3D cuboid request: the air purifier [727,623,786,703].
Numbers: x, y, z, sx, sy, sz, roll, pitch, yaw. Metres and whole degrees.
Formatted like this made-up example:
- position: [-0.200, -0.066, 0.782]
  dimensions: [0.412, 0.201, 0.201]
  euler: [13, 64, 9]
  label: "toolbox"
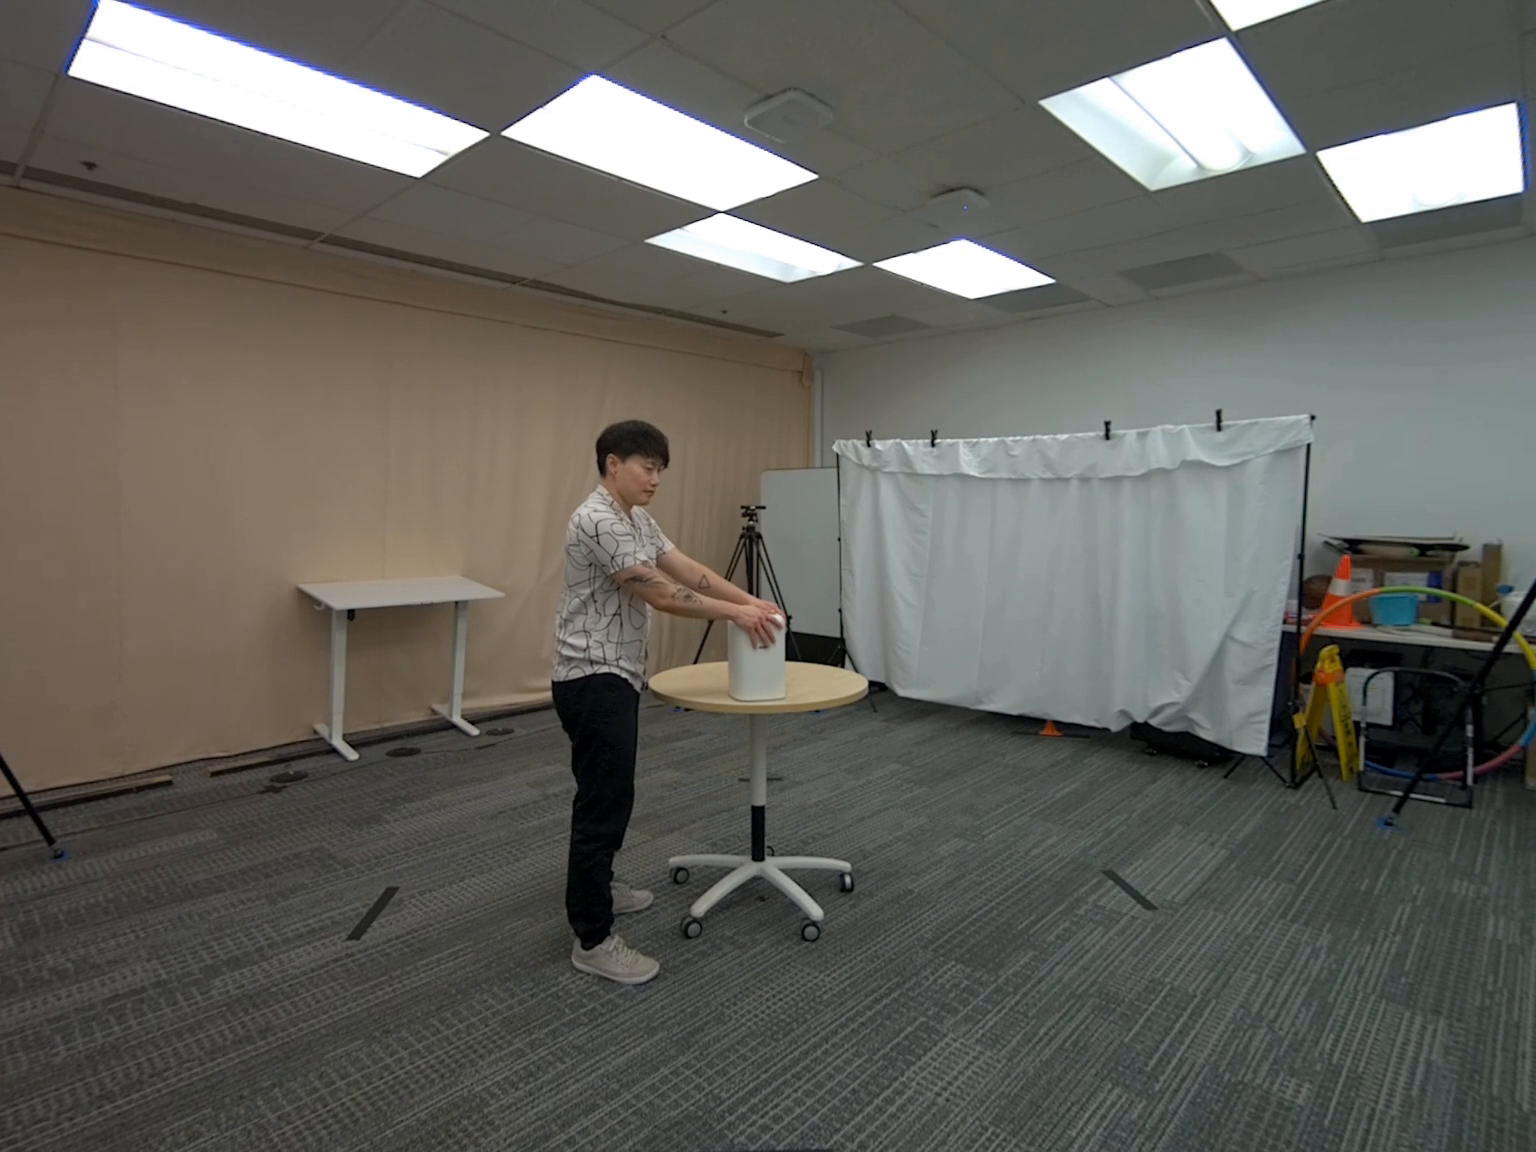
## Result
- position: [-0.034, 0.253, 2.693]
  dimensions: [0.169, 0.265, 0.173]
  euler: [1, 2, -9]
  label: "air purifier"
